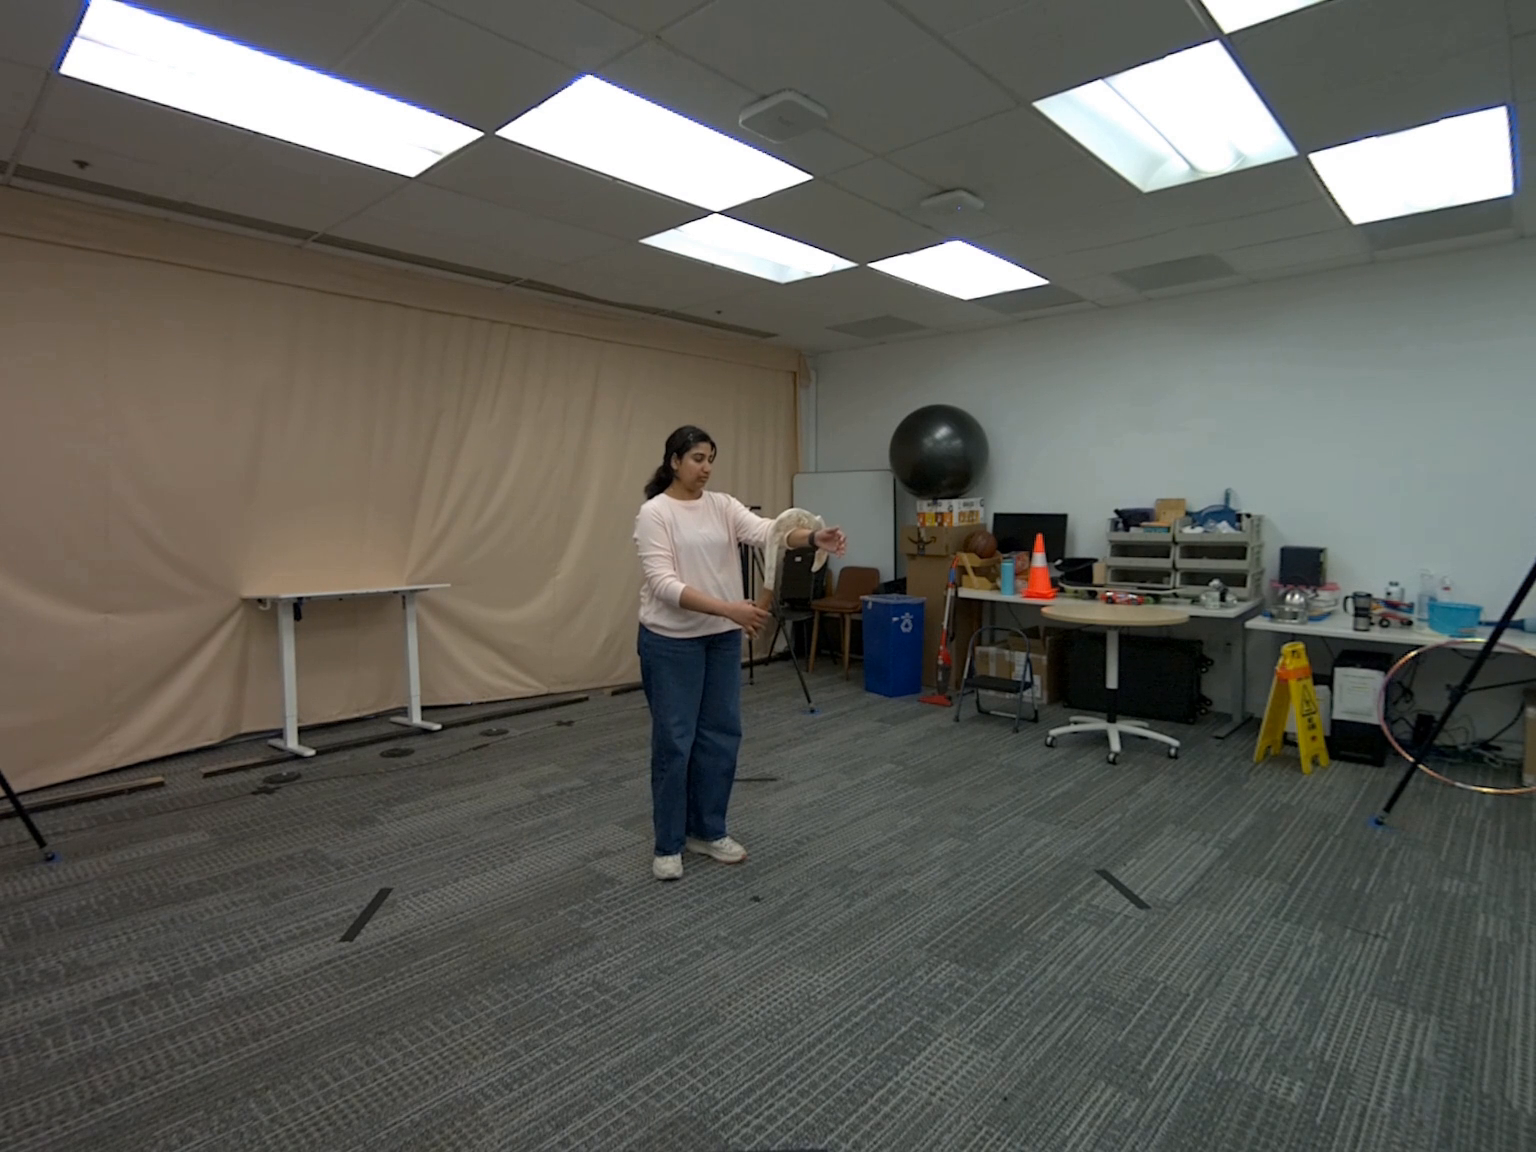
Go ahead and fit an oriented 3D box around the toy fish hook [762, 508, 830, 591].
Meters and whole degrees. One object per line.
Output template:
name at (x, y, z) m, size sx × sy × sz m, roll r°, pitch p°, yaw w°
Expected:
toy fish hook at (0.073, 0.010, 3.032) m, size 0.225 × 0.506 × 0.048 m, roll 20°, pitch 4°, yaw 3°
